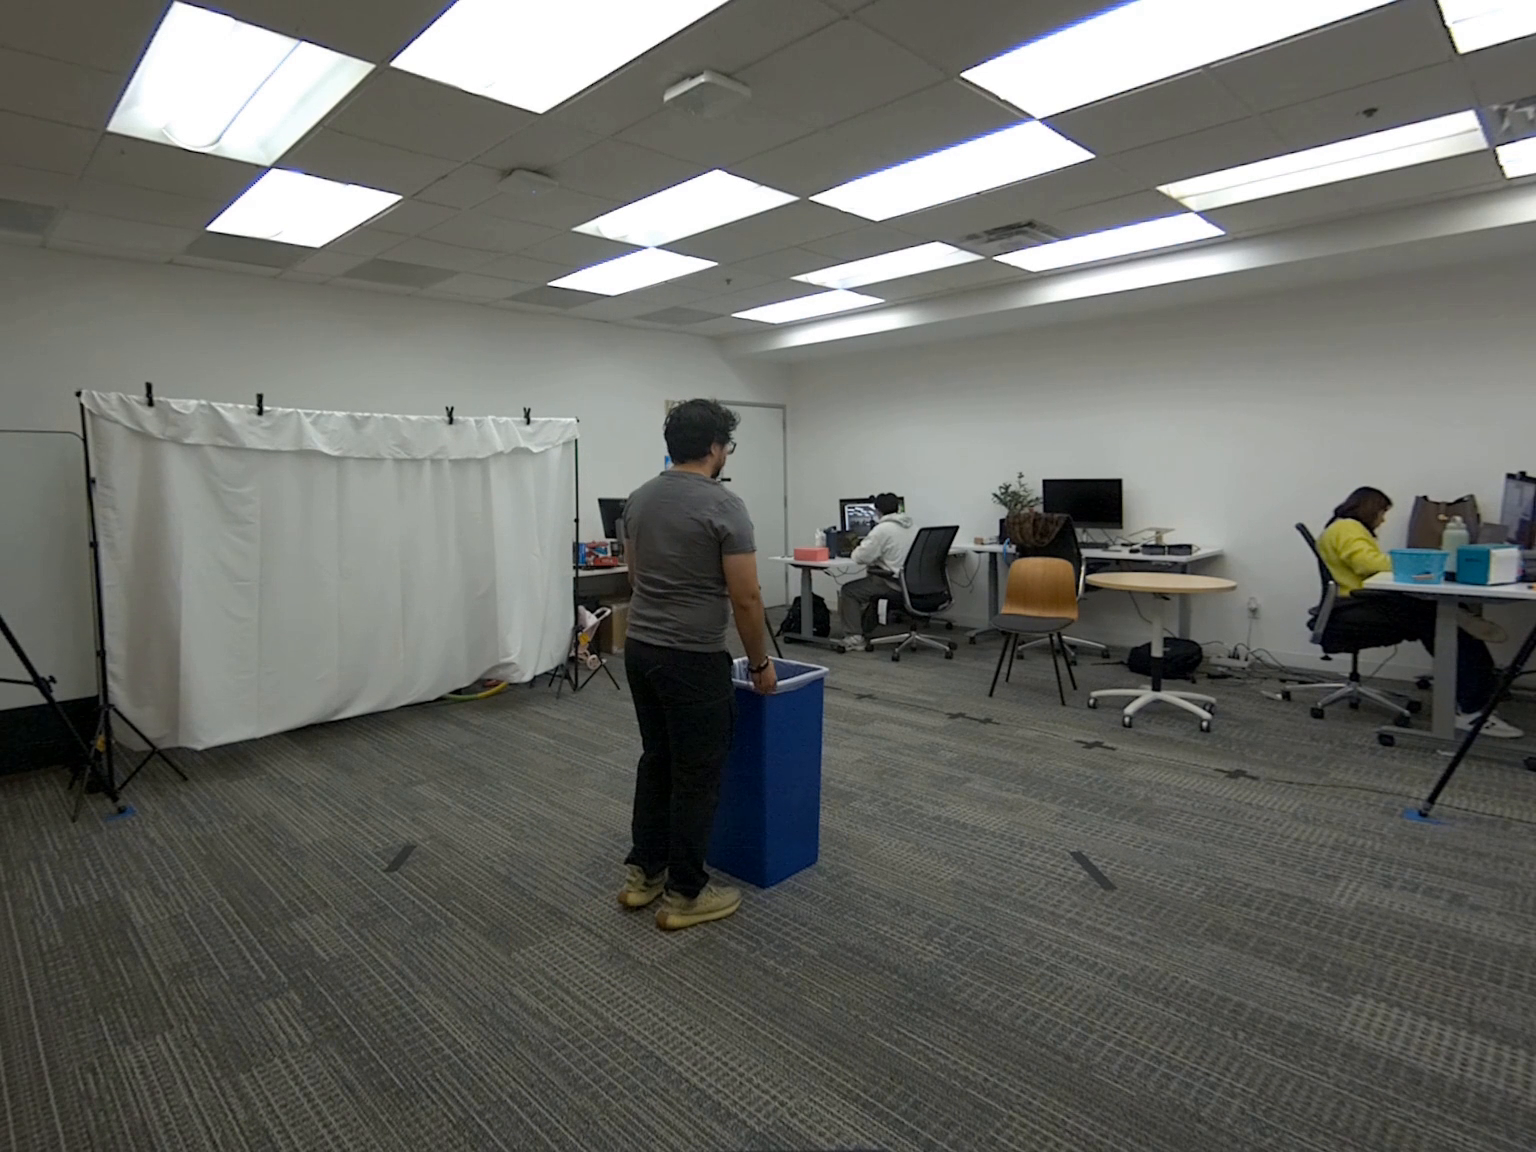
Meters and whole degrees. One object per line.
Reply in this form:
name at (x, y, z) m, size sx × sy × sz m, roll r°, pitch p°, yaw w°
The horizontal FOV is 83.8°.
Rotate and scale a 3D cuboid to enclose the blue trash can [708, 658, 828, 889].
blue trash can at (-0.024, 0.688, 3.079) m, size 0.390 × 0.711 × 0.364 m, roll 3°, pitch 6°, yaw 42°
